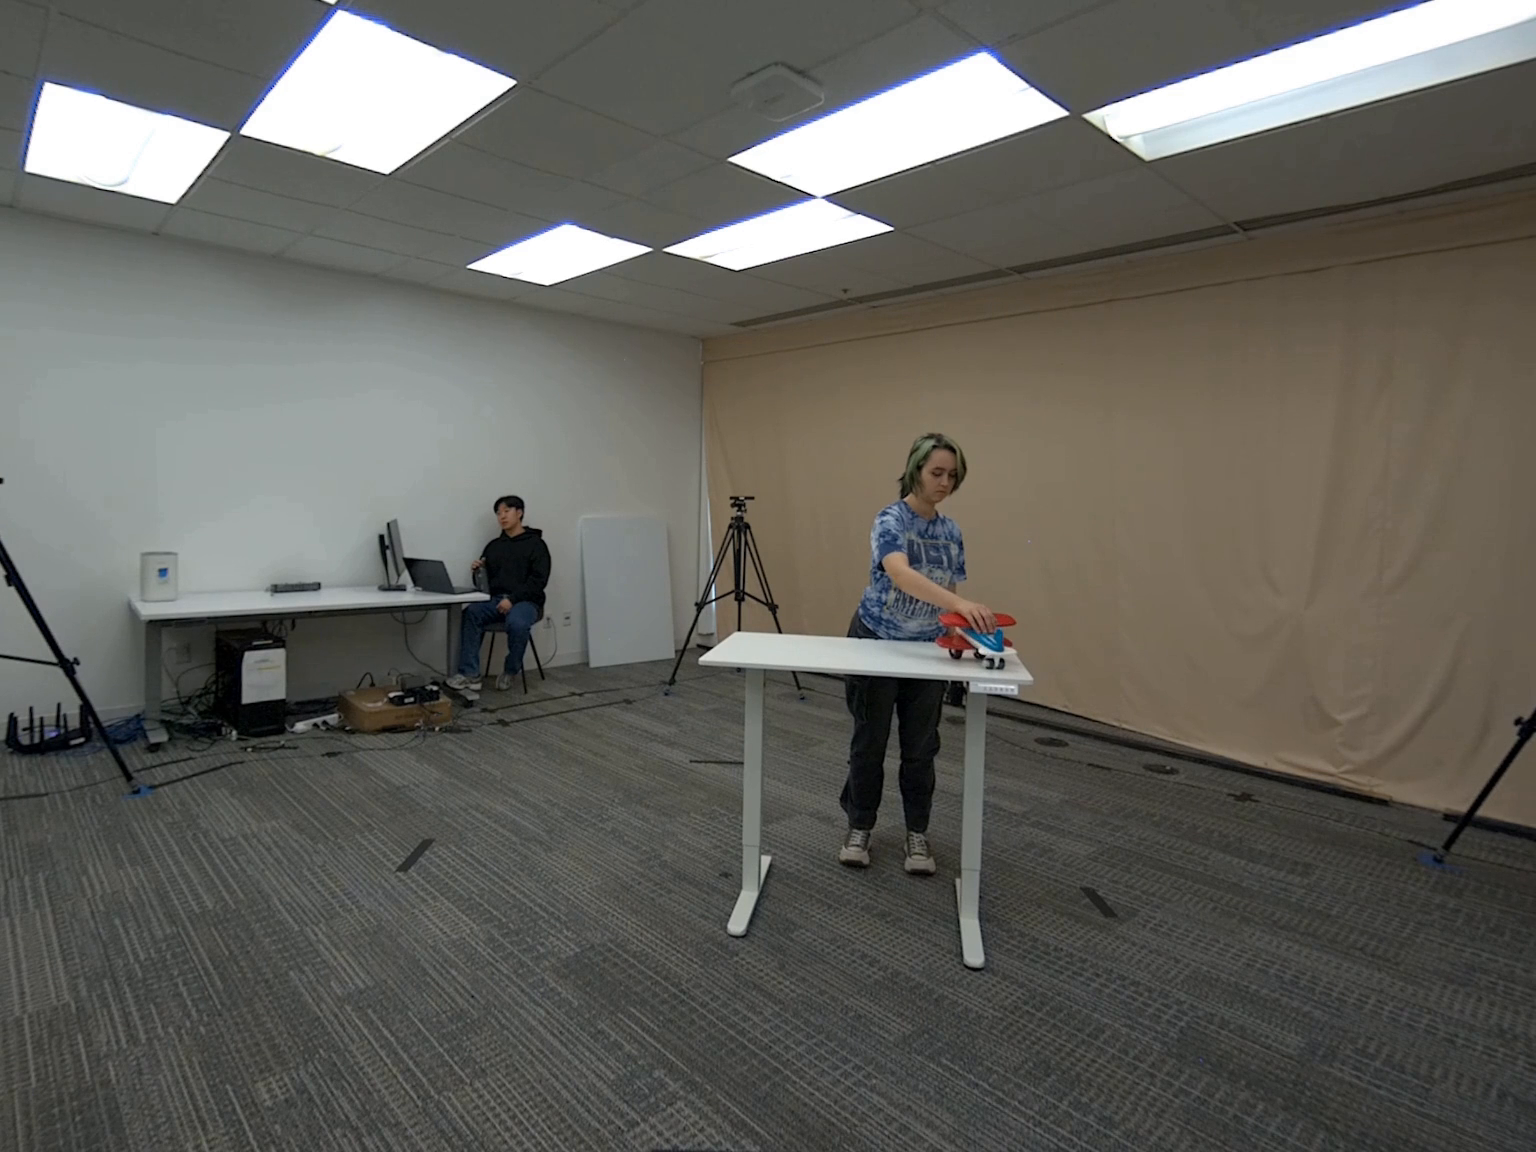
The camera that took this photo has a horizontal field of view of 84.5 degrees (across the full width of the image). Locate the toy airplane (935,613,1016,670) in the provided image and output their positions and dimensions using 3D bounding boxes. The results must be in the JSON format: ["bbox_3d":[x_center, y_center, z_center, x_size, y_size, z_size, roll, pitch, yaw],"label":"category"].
[{"bbox_3d":[0.687,0.204,2.679,0.245,0.156,0.266,-2,5,-38],"label":"toy airplane"}]
